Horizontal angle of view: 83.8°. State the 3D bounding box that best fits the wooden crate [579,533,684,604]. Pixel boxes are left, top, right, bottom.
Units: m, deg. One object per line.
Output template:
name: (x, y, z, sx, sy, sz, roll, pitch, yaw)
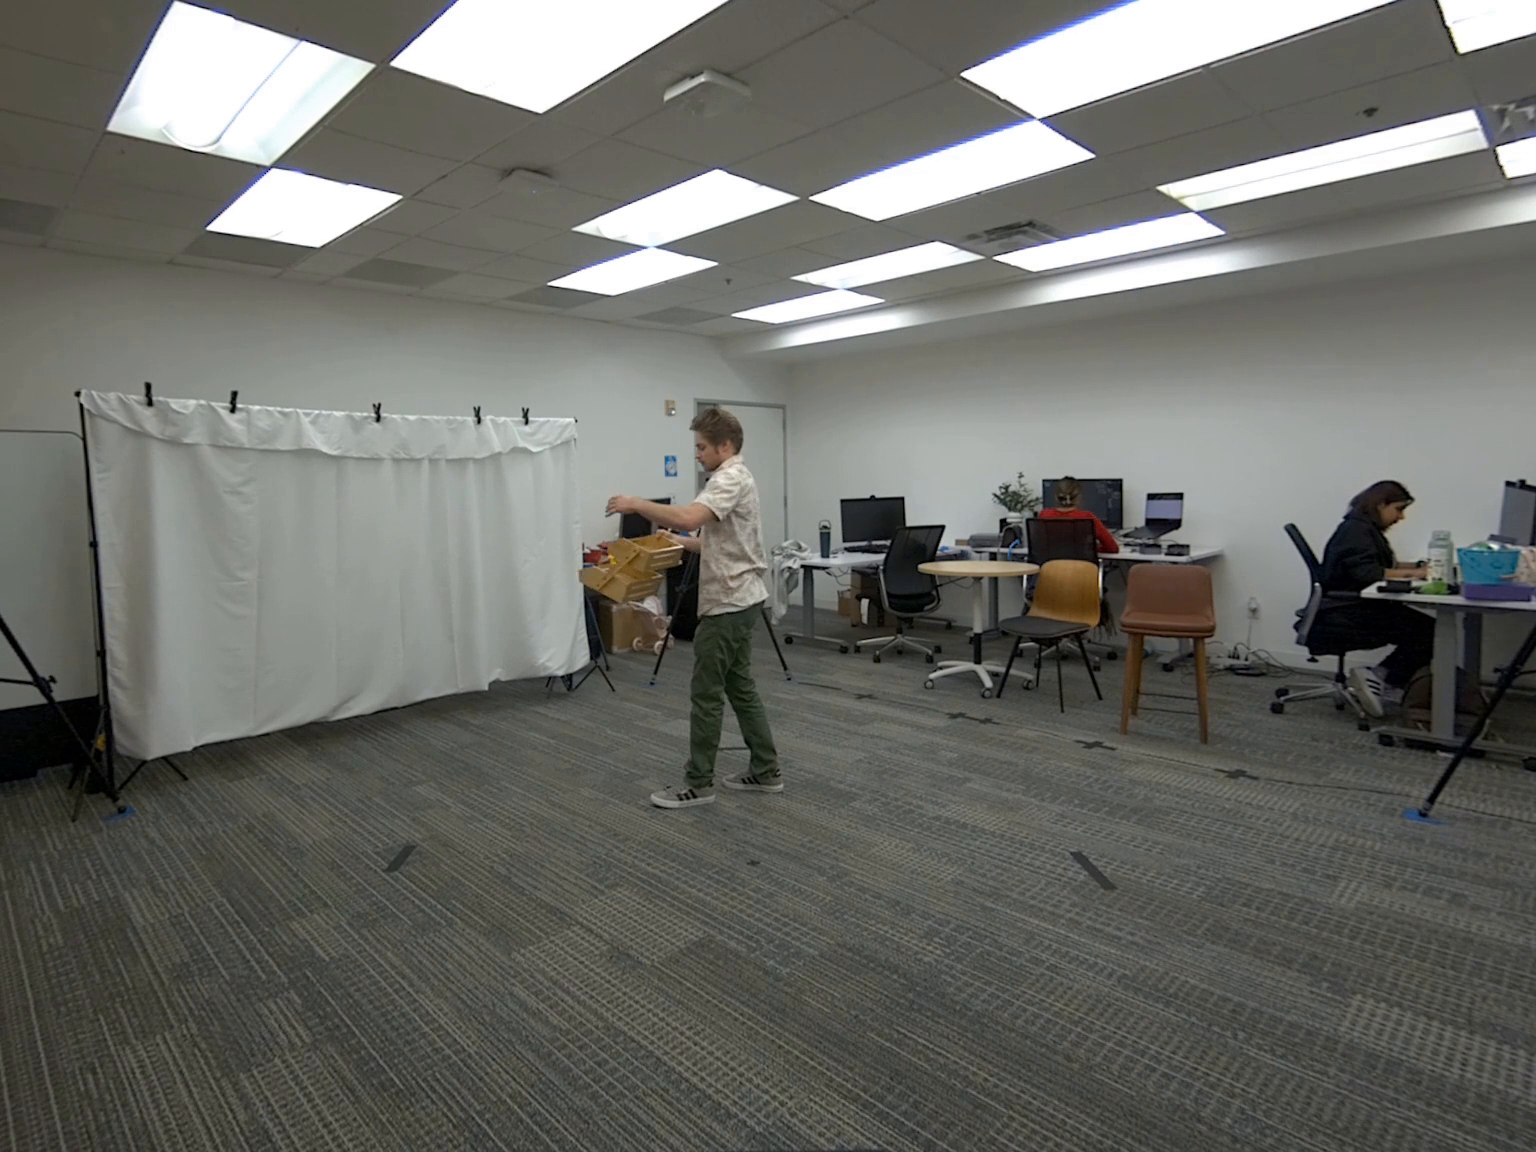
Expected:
wooden crate: (-0.599, -0.064, 3.746, 0.310, 0.271, 0.318, 25, 15, 20)
